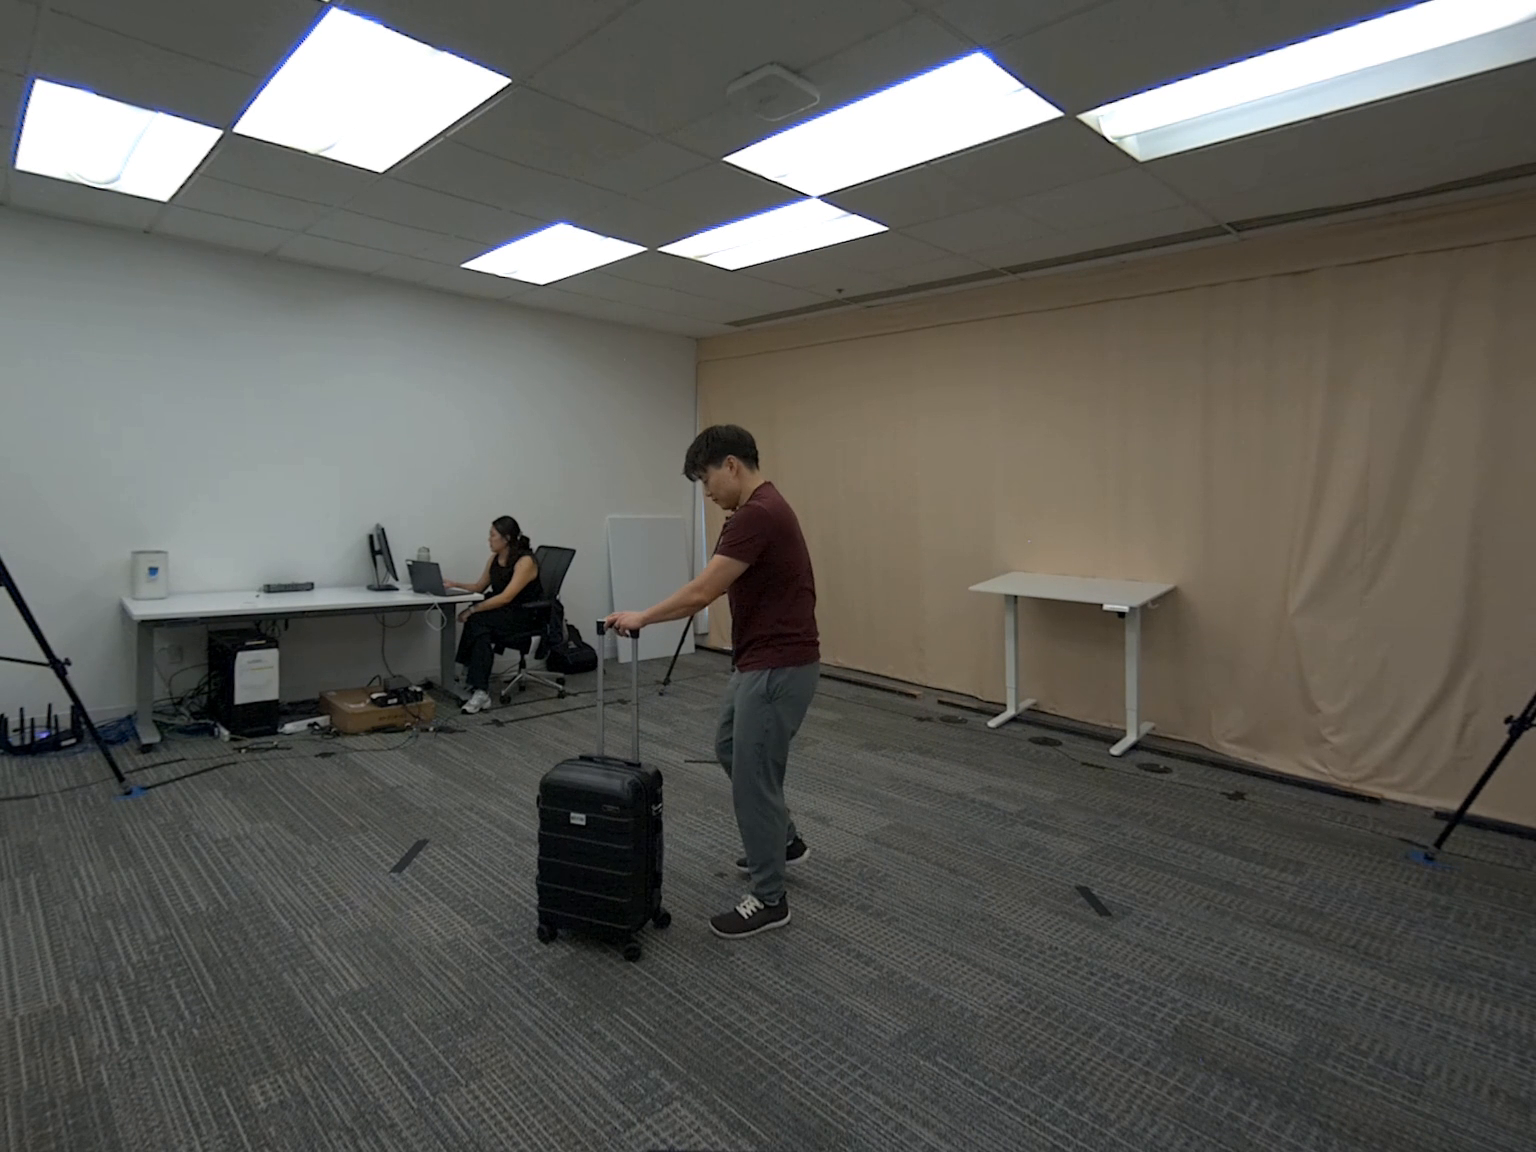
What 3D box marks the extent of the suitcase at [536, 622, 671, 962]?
[{"bbox_3d":[-0.535,0.669,2.629,0.389,0.975,0.255,1,5,15],"label":"suitcase"}]
